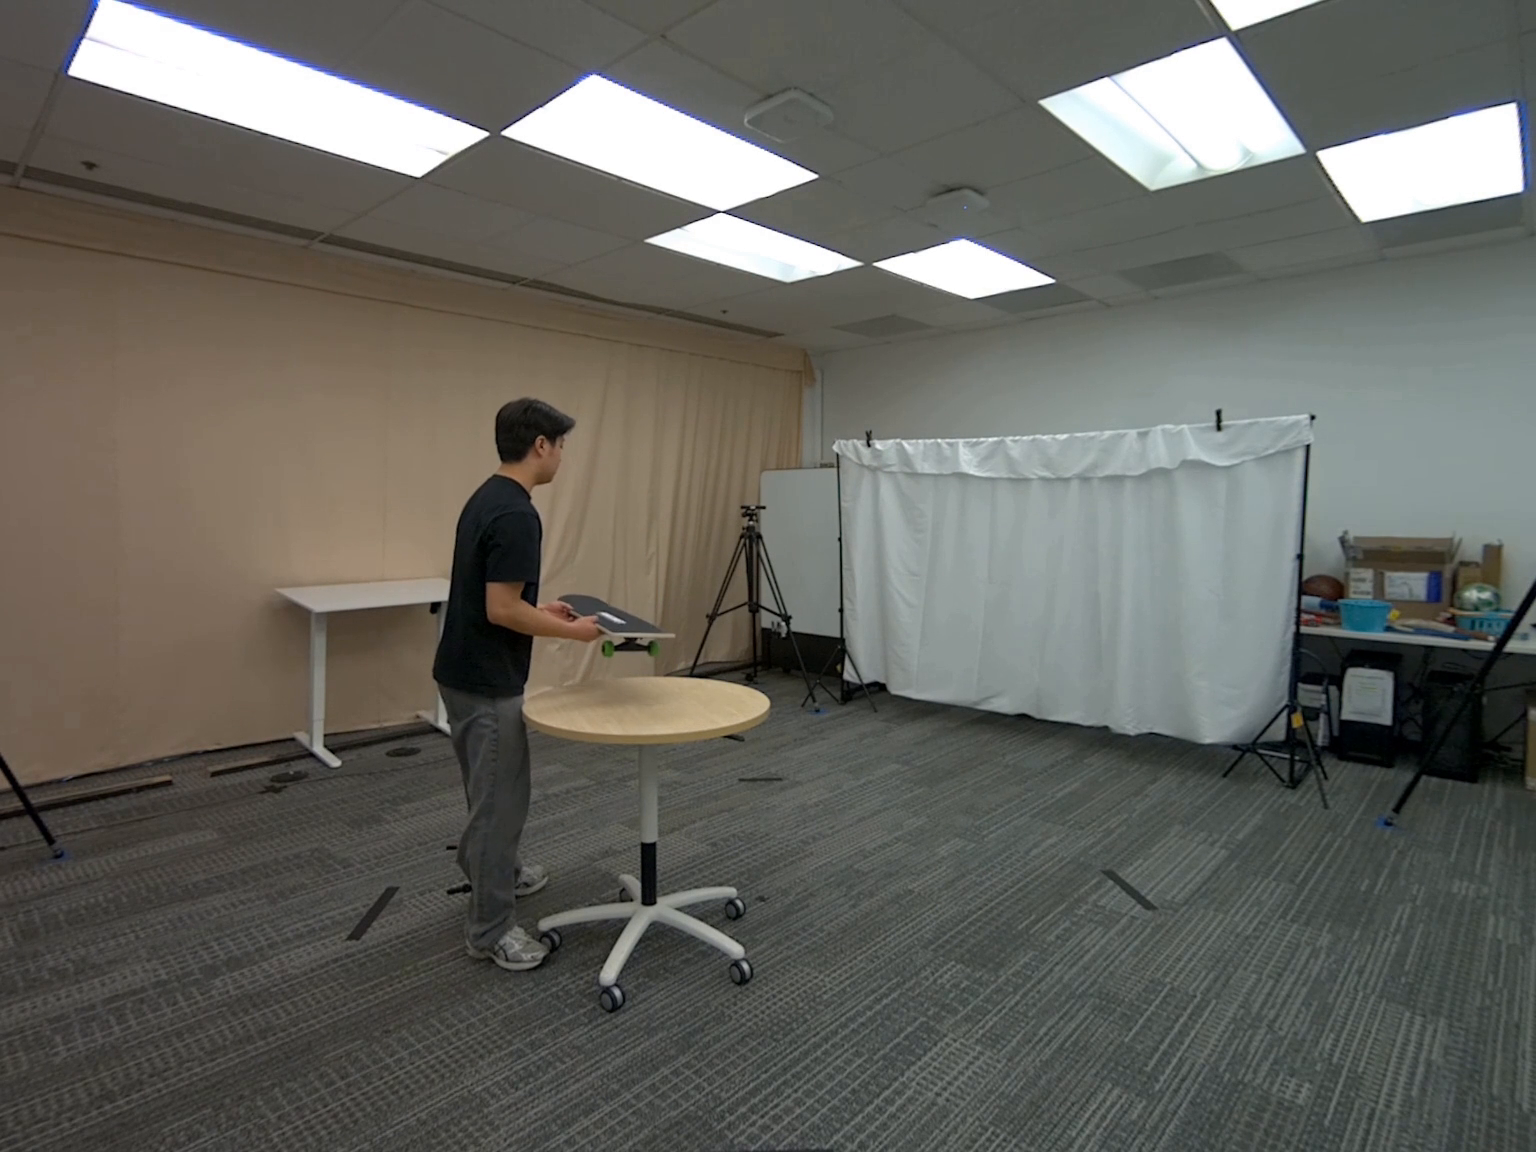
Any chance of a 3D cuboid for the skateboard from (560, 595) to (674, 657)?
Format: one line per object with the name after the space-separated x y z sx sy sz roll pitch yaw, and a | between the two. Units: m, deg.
-0.519 0.182 2.843 0.188 0.110 0.809 4 5 -30 | skateboard
